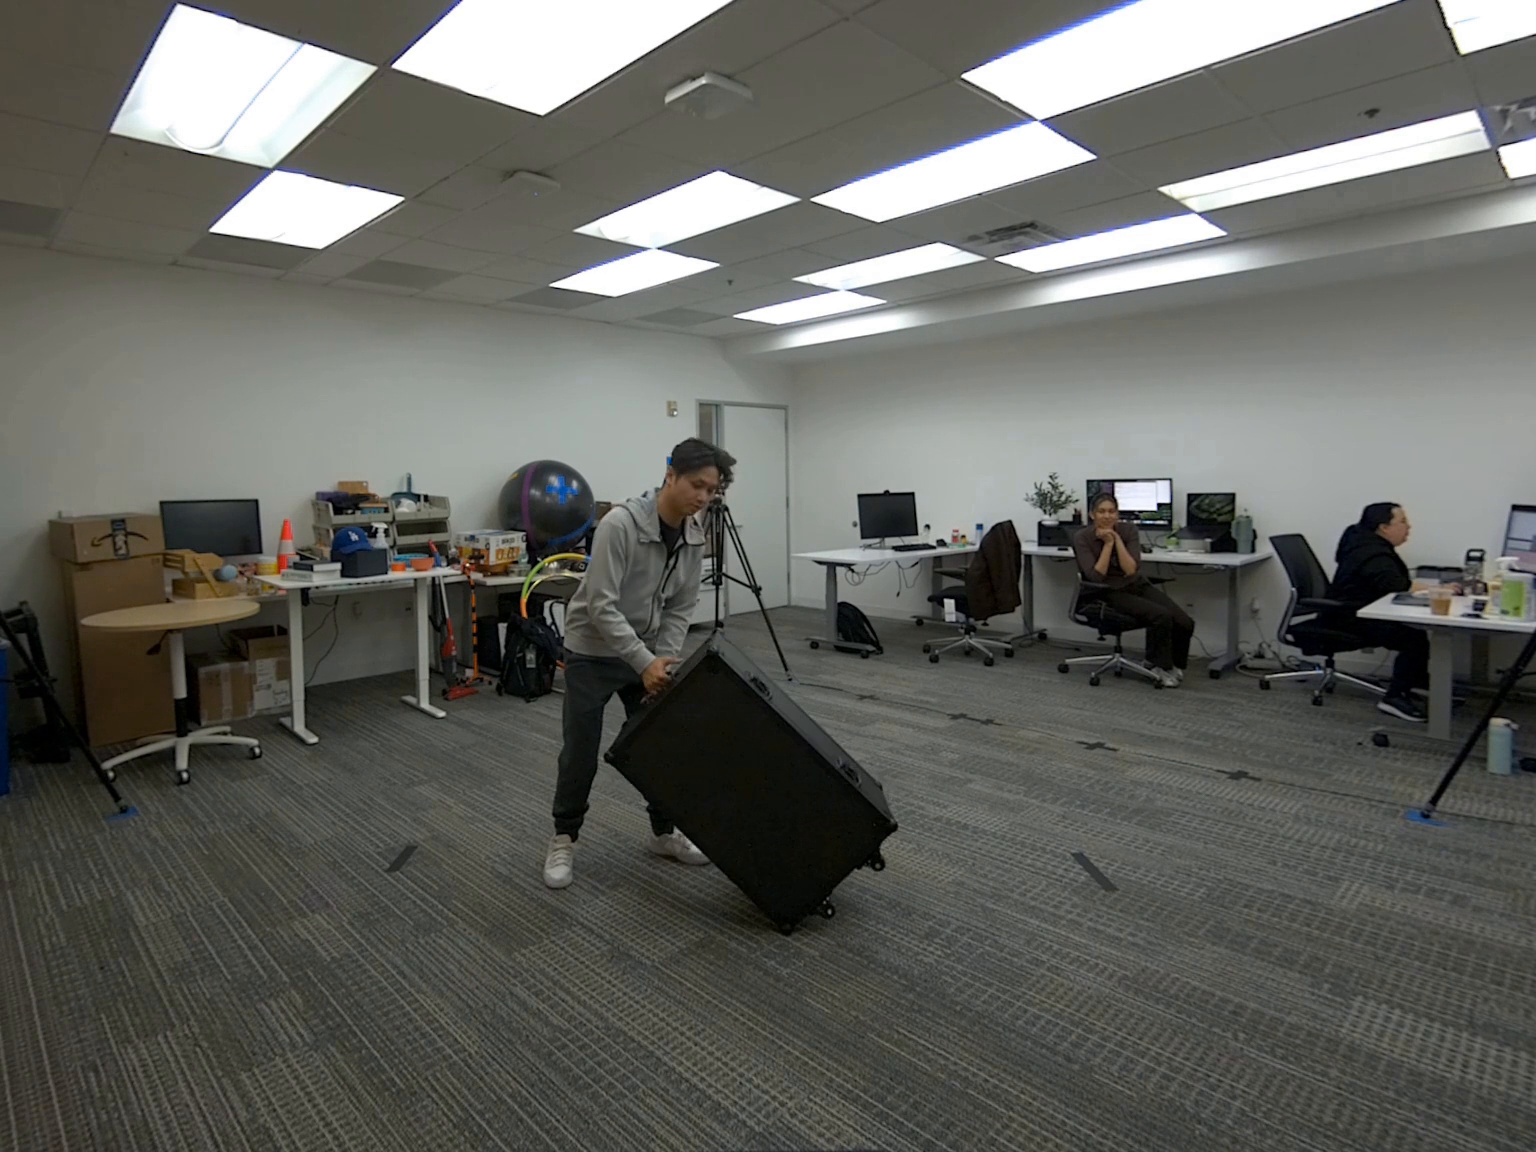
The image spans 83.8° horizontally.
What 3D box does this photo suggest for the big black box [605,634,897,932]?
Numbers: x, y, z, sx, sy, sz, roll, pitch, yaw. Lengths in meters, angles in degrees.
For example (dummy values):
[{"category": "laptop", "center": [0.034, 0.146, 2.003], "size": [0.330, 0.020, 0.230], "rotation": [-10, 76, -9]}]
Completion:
[{"category": "big black box", "center": [-0.035, 0.667, 2.778], "size": [0.863, 0.521, 0.396], "rotation": [44, 6, 0]}]
